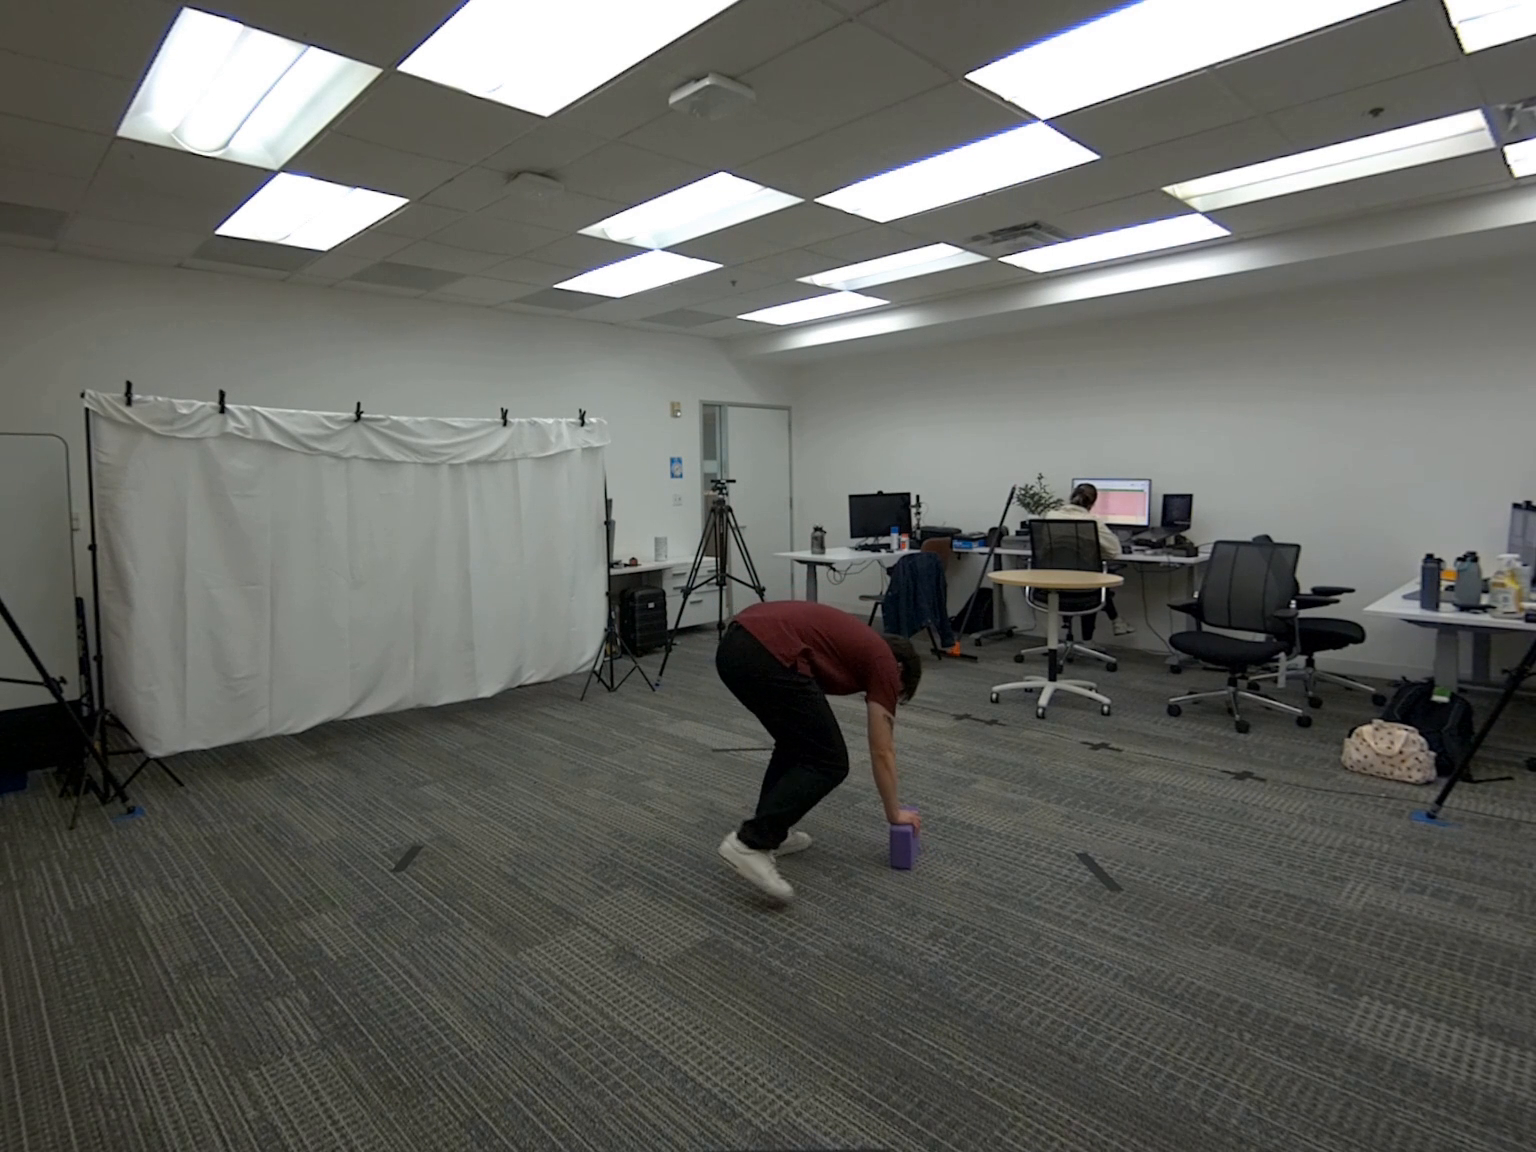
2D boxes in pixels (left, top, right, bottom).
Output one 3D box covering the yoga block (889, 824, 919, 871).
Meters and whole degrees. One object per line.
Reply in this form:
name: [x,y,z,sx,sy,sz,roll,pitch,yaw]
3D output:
yoga block: [0.500,0.957,3.142,0.078,0.148,0.226,0,5,17]
